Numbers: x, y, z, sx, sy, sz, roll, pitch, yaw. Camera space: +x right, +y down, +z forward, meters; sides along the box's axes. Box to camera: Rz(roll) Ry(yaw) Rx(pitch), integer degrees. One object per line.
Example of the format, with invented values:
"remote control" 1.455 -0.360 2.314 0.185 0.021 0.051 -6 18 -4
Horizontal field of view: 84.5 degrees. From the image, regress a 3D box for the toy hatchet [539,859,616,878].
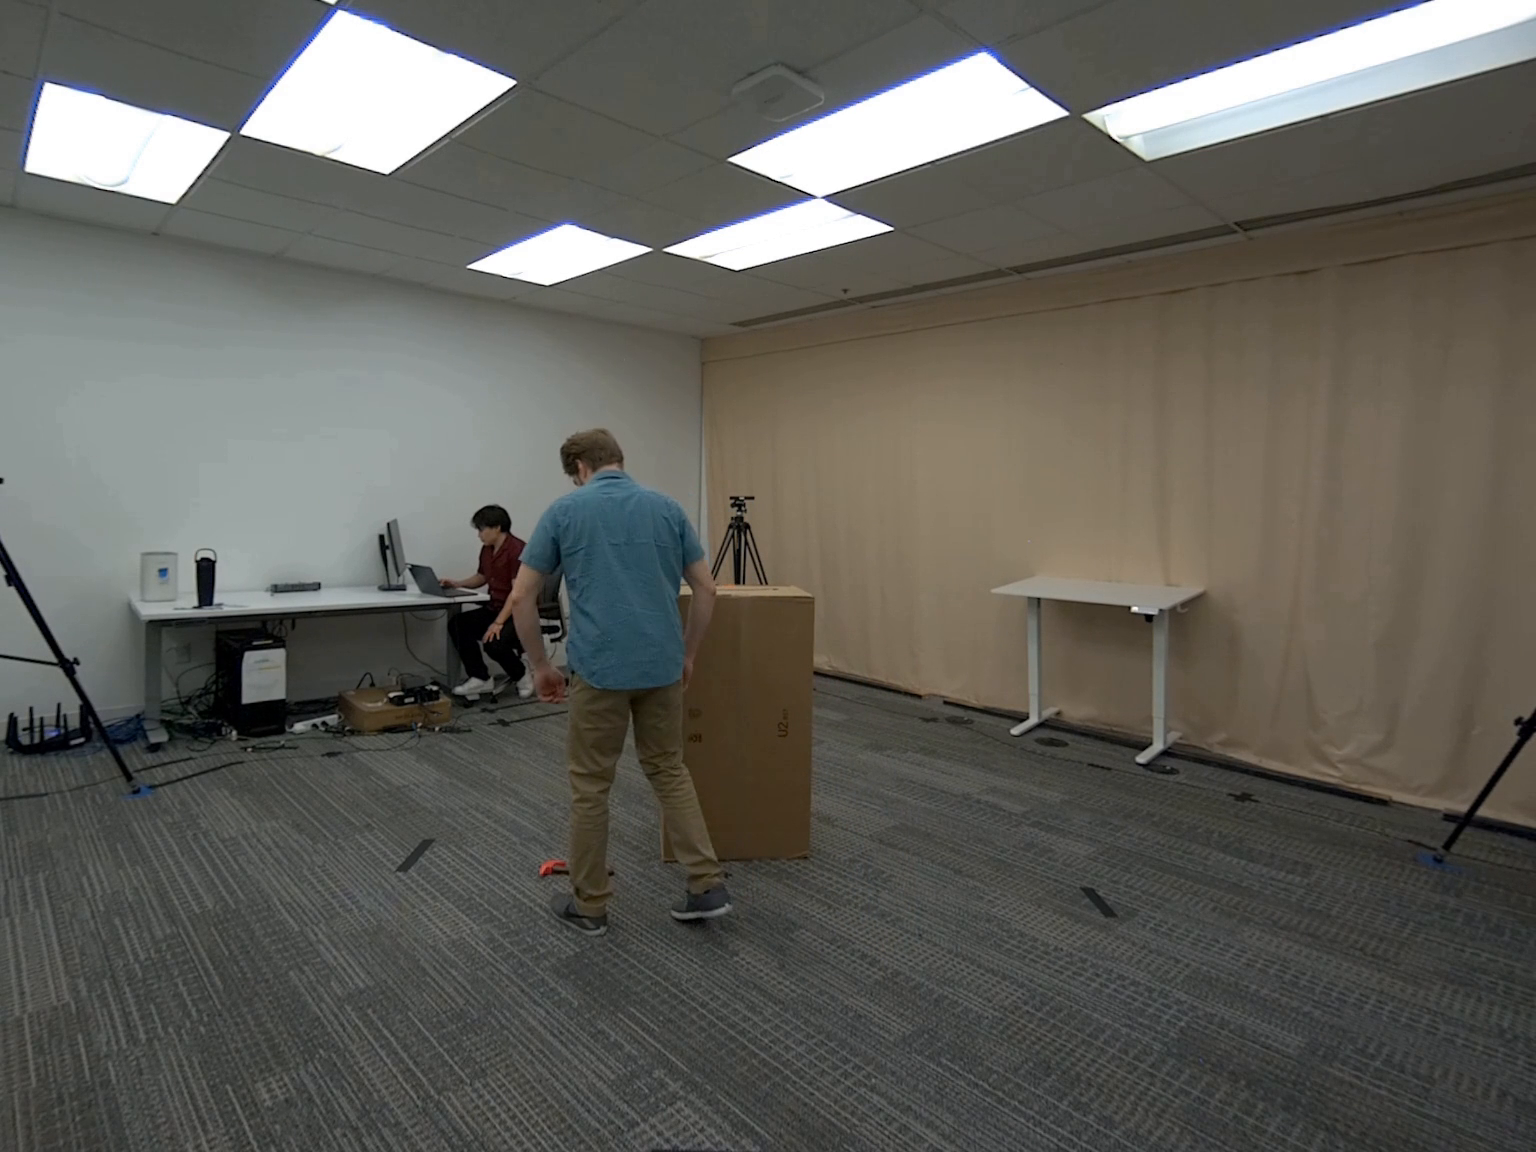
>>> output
"toy hatchet" -0.711 1.076 3.110 0.268 0.029 0.132 3 2 -8
